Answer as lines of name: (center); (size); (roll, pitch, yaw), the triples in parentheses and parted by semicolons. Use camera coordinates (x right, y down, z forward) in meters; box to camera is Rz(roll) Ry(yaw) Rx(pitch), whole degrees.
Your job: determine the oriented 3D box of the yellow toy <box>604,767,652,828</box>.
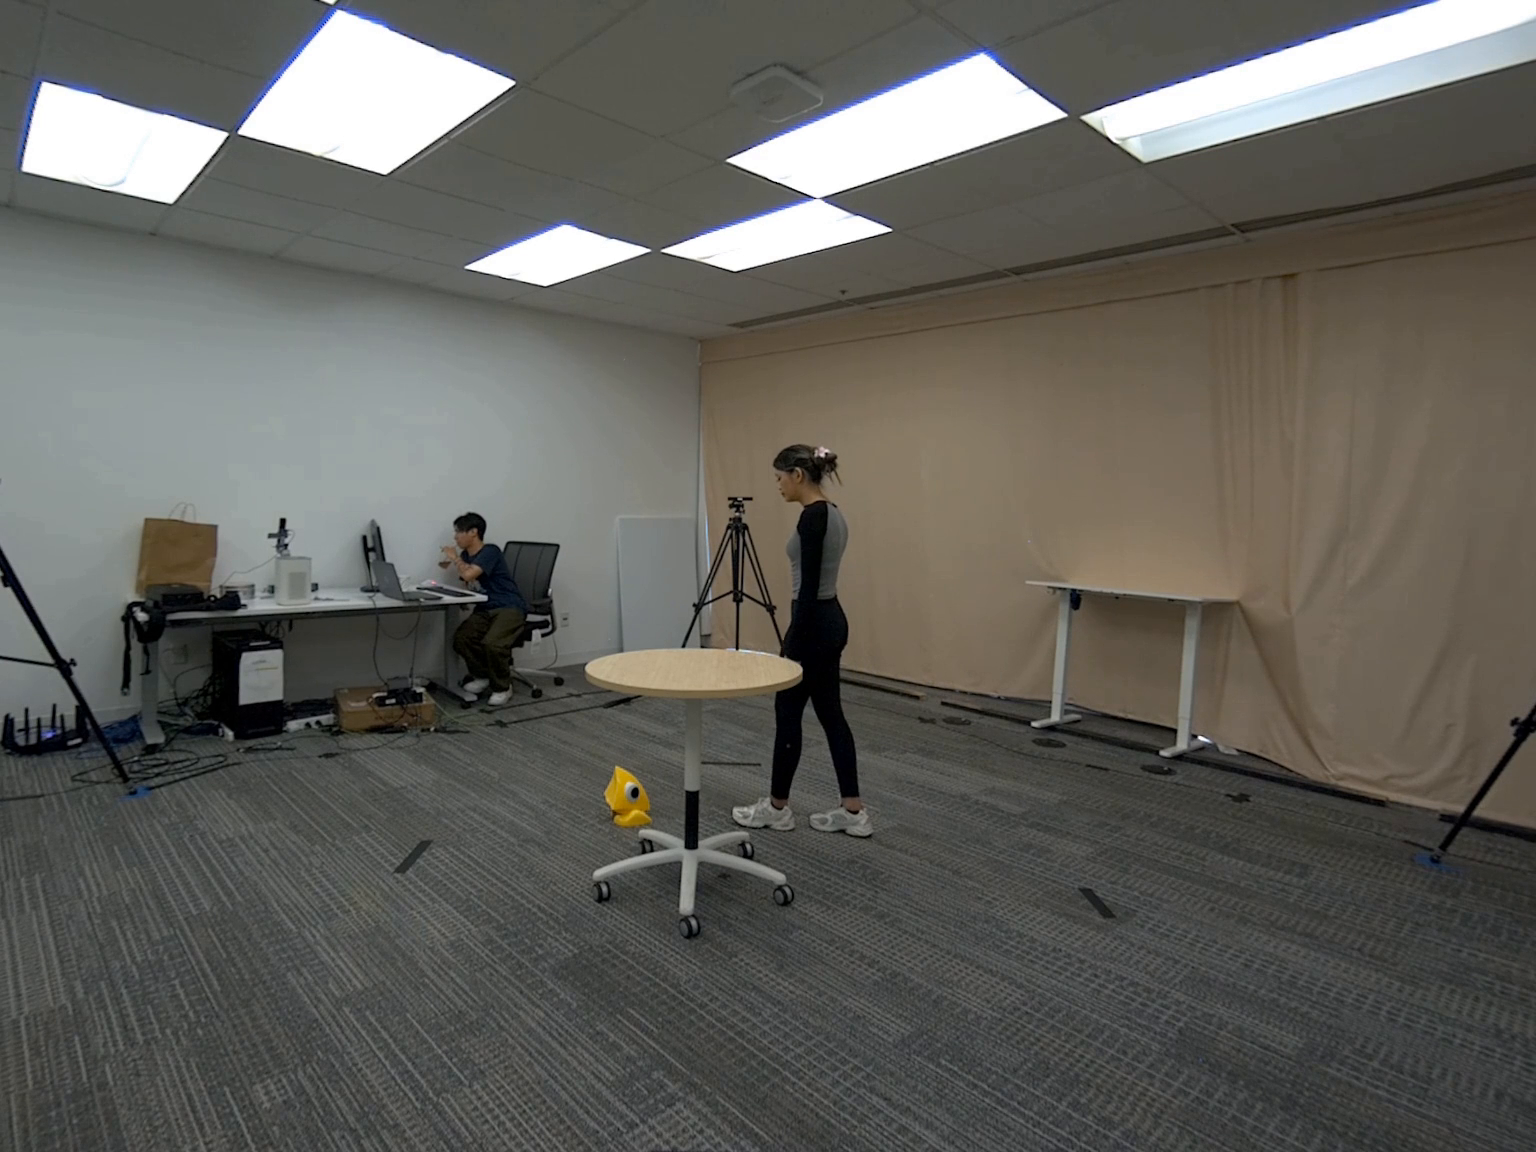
yellow toy: (-0.611, 0.938, 3.650); (0.190, 0.230, 0.208); (1, 3, -19)
